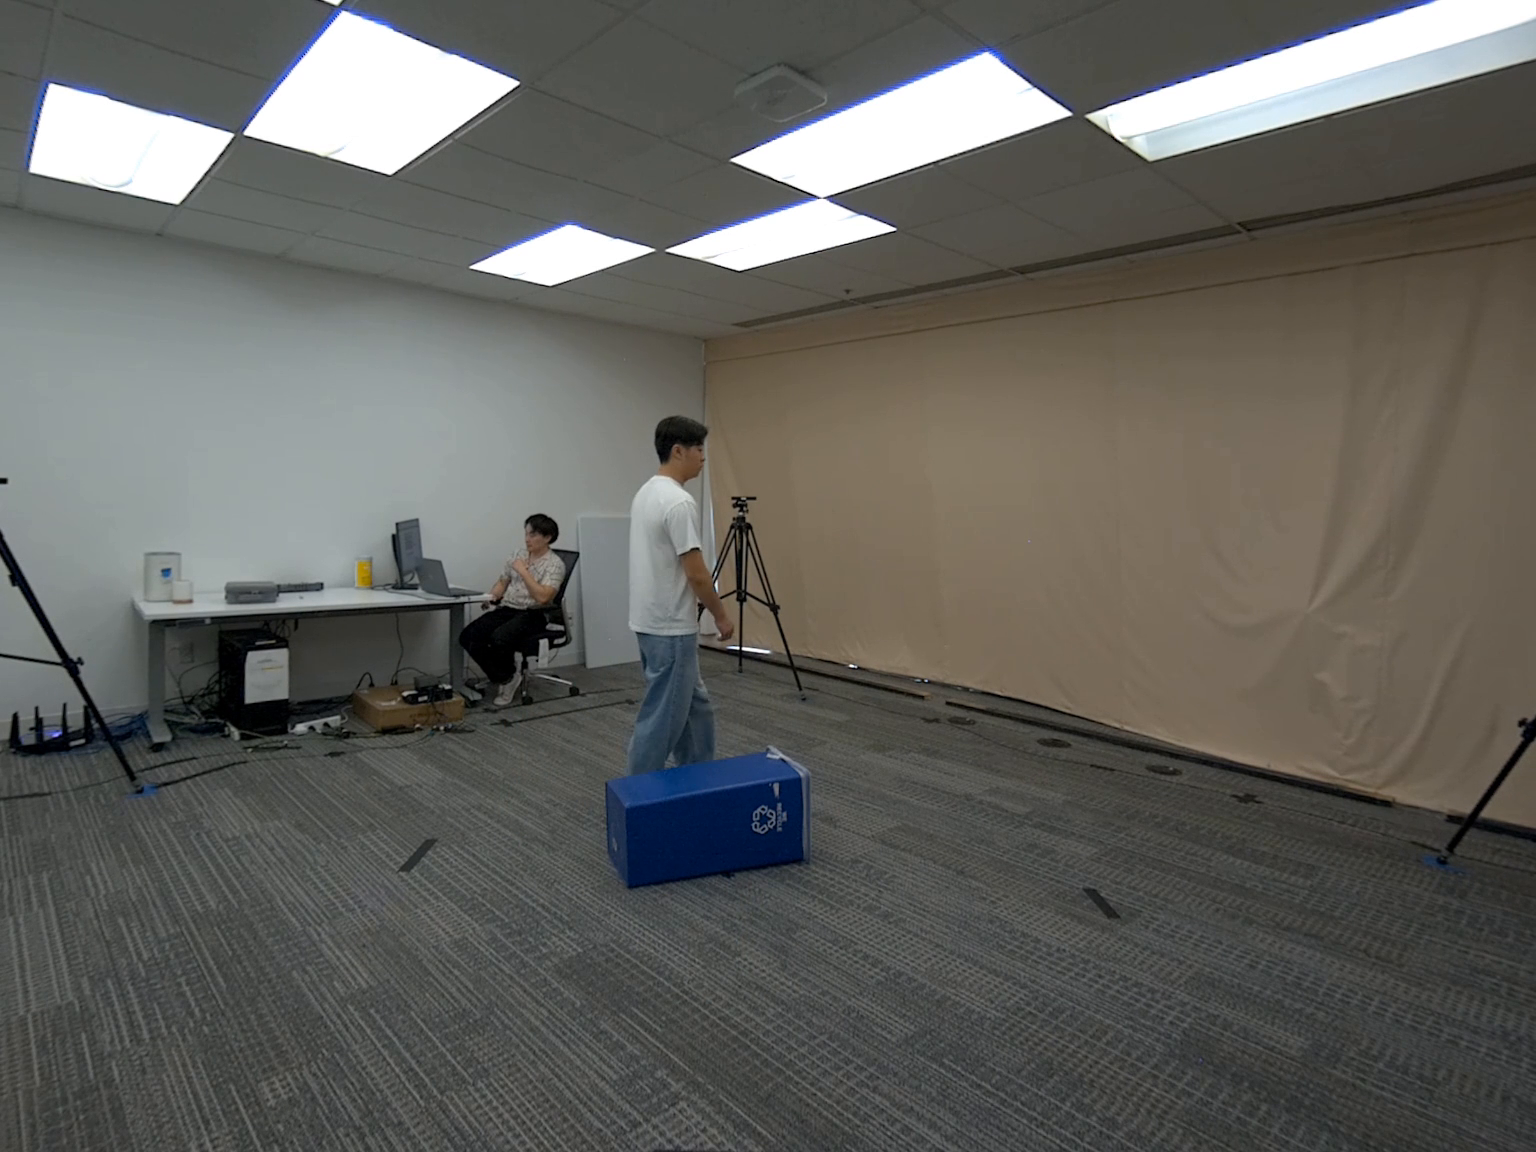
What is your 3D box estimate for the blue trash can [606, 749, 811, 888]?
[{"bbox_3d":[-0.239,0.928,3.229,0.702,0.377,0.381,-3,6,-23],"label":"blue trash can"}]
